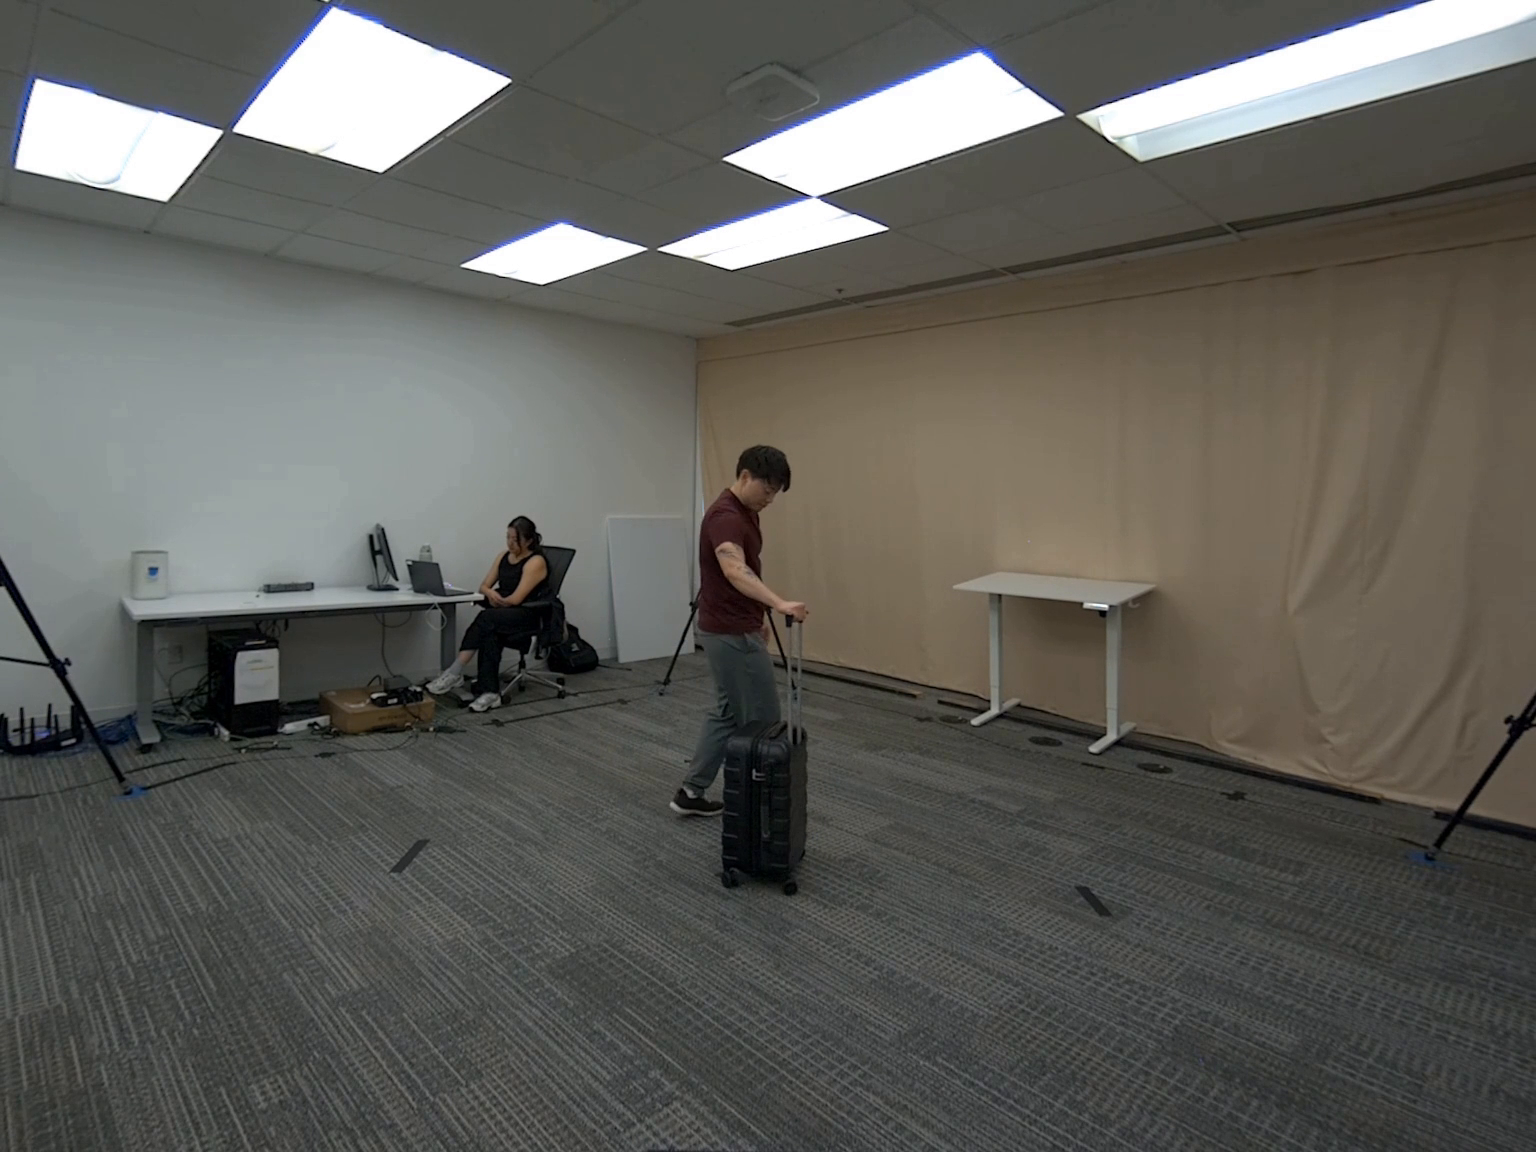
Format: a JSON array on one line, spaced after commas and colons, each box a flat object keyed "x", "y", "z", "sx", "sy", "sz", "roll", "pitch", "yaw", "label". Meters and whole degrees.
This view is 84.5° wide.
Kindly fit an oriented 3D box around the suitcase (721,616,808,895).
[{"x": -0.015, "y": 0.629, "z": 3.113, "sx": 0.260, "sy": 0.976, "sz": 0.380, "roll": 0, "pitch": 3, "yaw": 14, "label": "suitcase"}]
